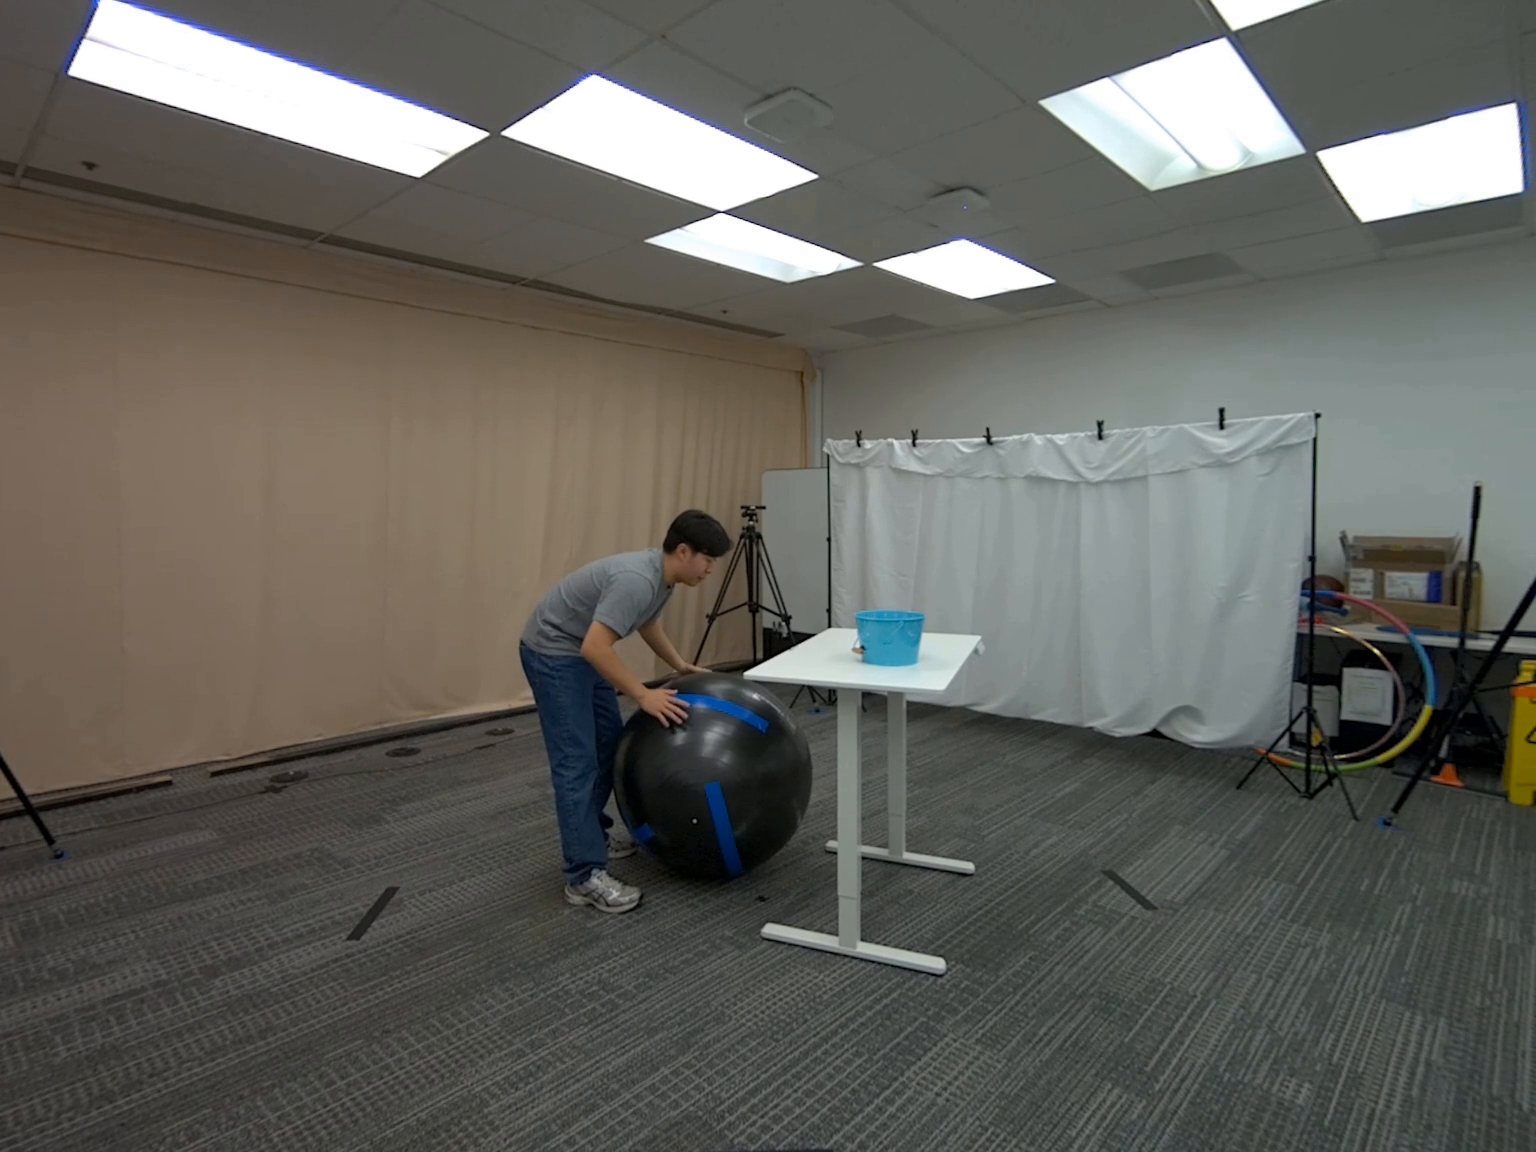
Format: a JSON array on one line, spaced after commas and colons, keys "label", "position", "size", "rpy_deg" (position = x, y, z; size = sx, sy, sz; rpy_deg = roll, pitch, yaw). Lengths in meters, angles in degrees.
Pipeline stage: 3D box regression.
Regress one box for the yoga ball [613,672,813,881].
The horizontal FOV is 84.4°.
[{"label": "yoga ball", "position": [-0.209, 0.753, 3.231], "size": [0.757, 0.756, 0.760], "rpy_deg": [0, 4, -2]}]
